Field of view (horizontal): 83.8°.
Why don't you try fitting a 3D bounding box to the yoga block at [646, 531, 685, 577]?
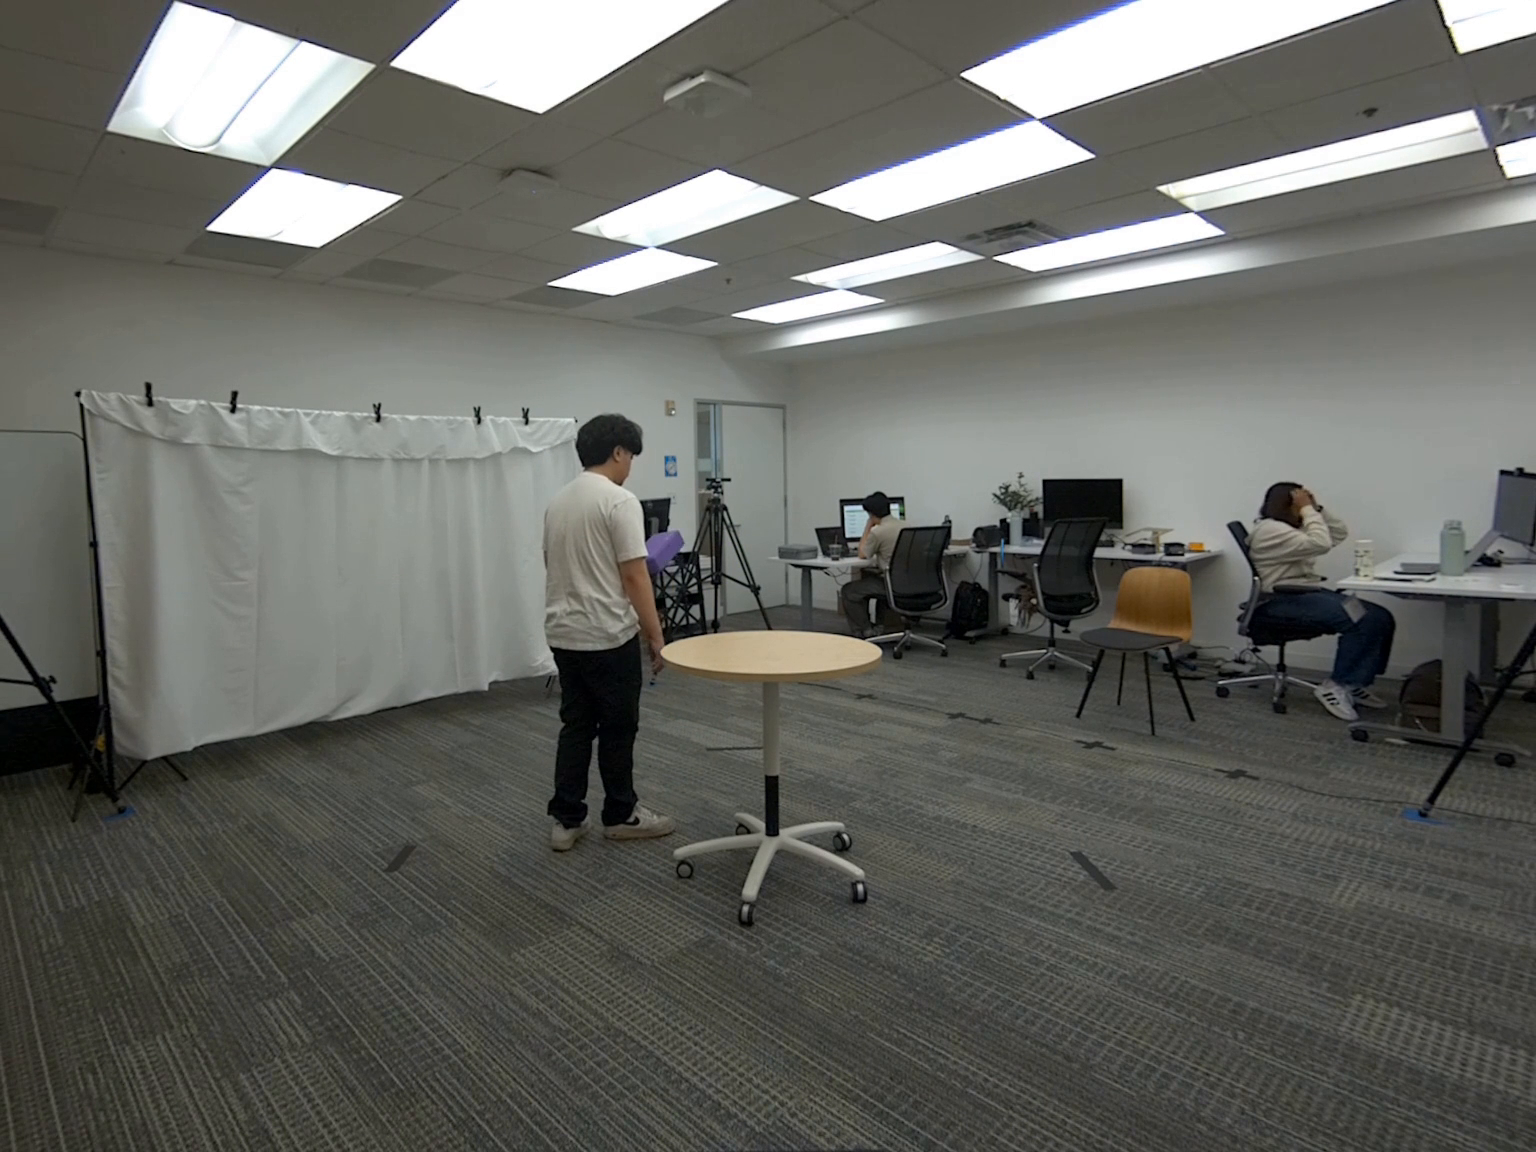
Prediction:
[{"bbox_3d":[-0.468,-0.099,3.620,0.152,0.074,0.230,-9,29,33],"label":"yoga block"}]
